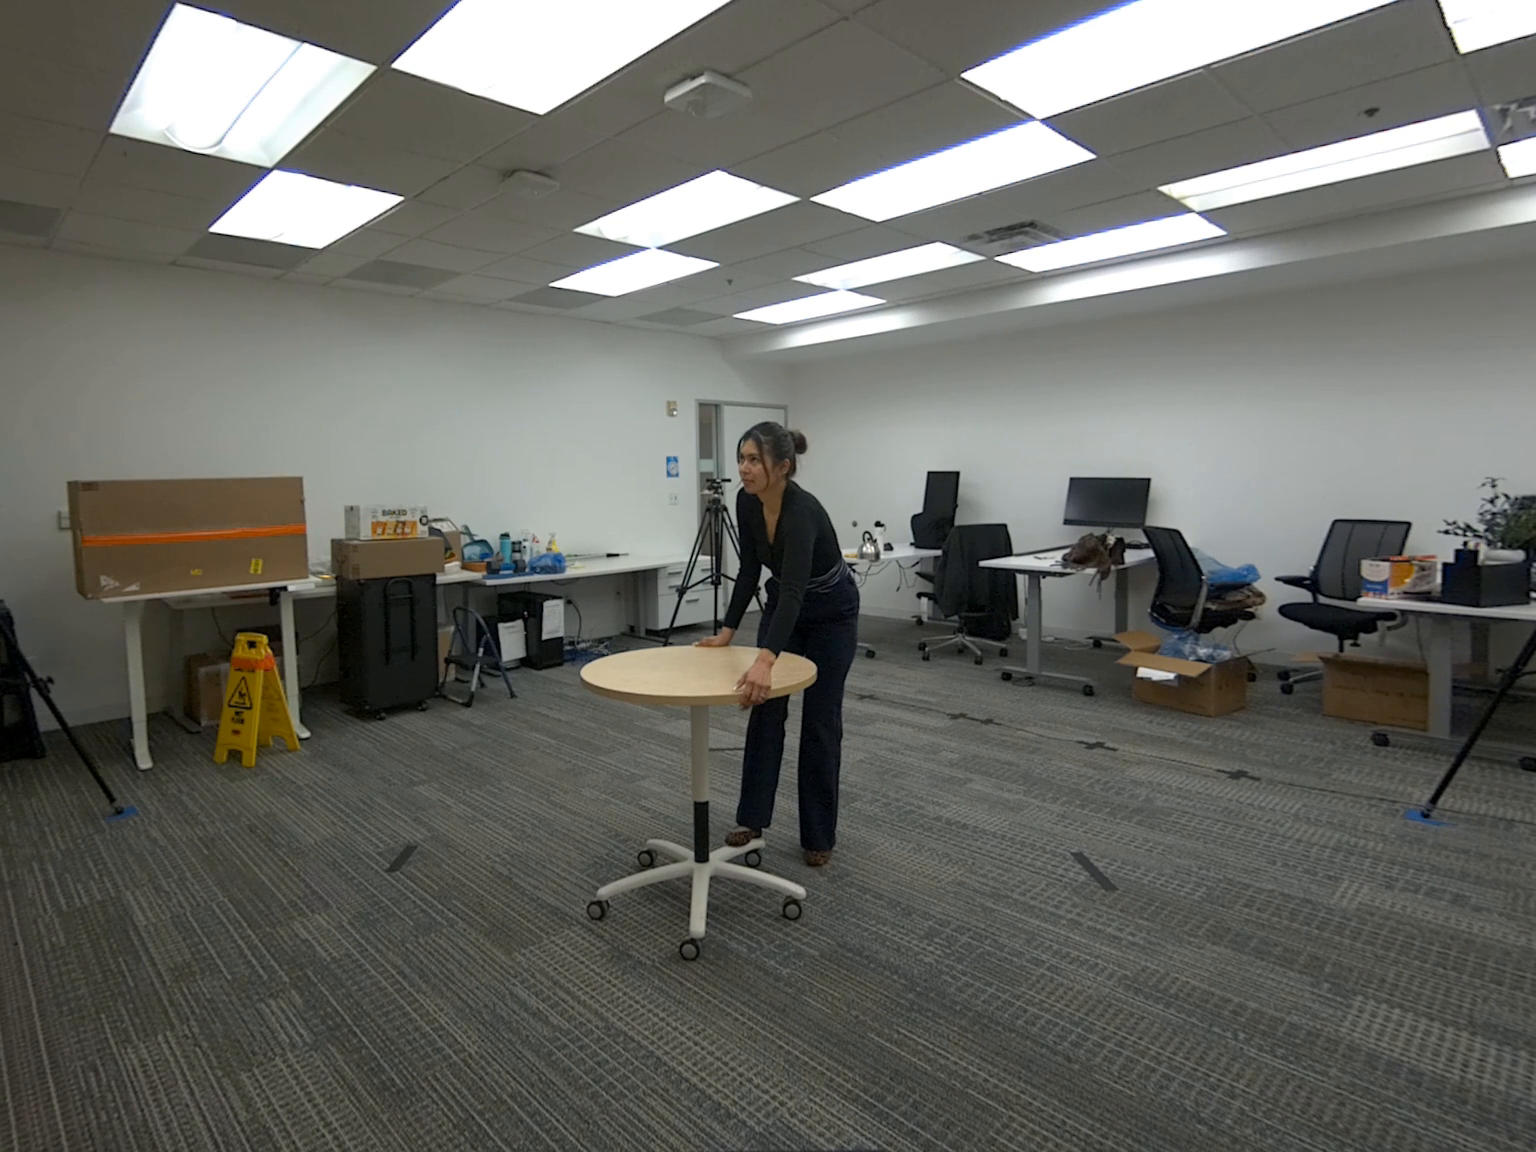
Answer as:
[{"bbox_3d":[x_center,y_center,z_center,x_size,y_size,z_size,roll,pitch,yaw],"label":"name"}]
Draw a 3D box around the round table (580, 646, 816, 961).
[{"bbox_3d":[-0.220,0.691,2.811,0.763,0.791,0.768,-1,5,-2],"label":"round table"}]
